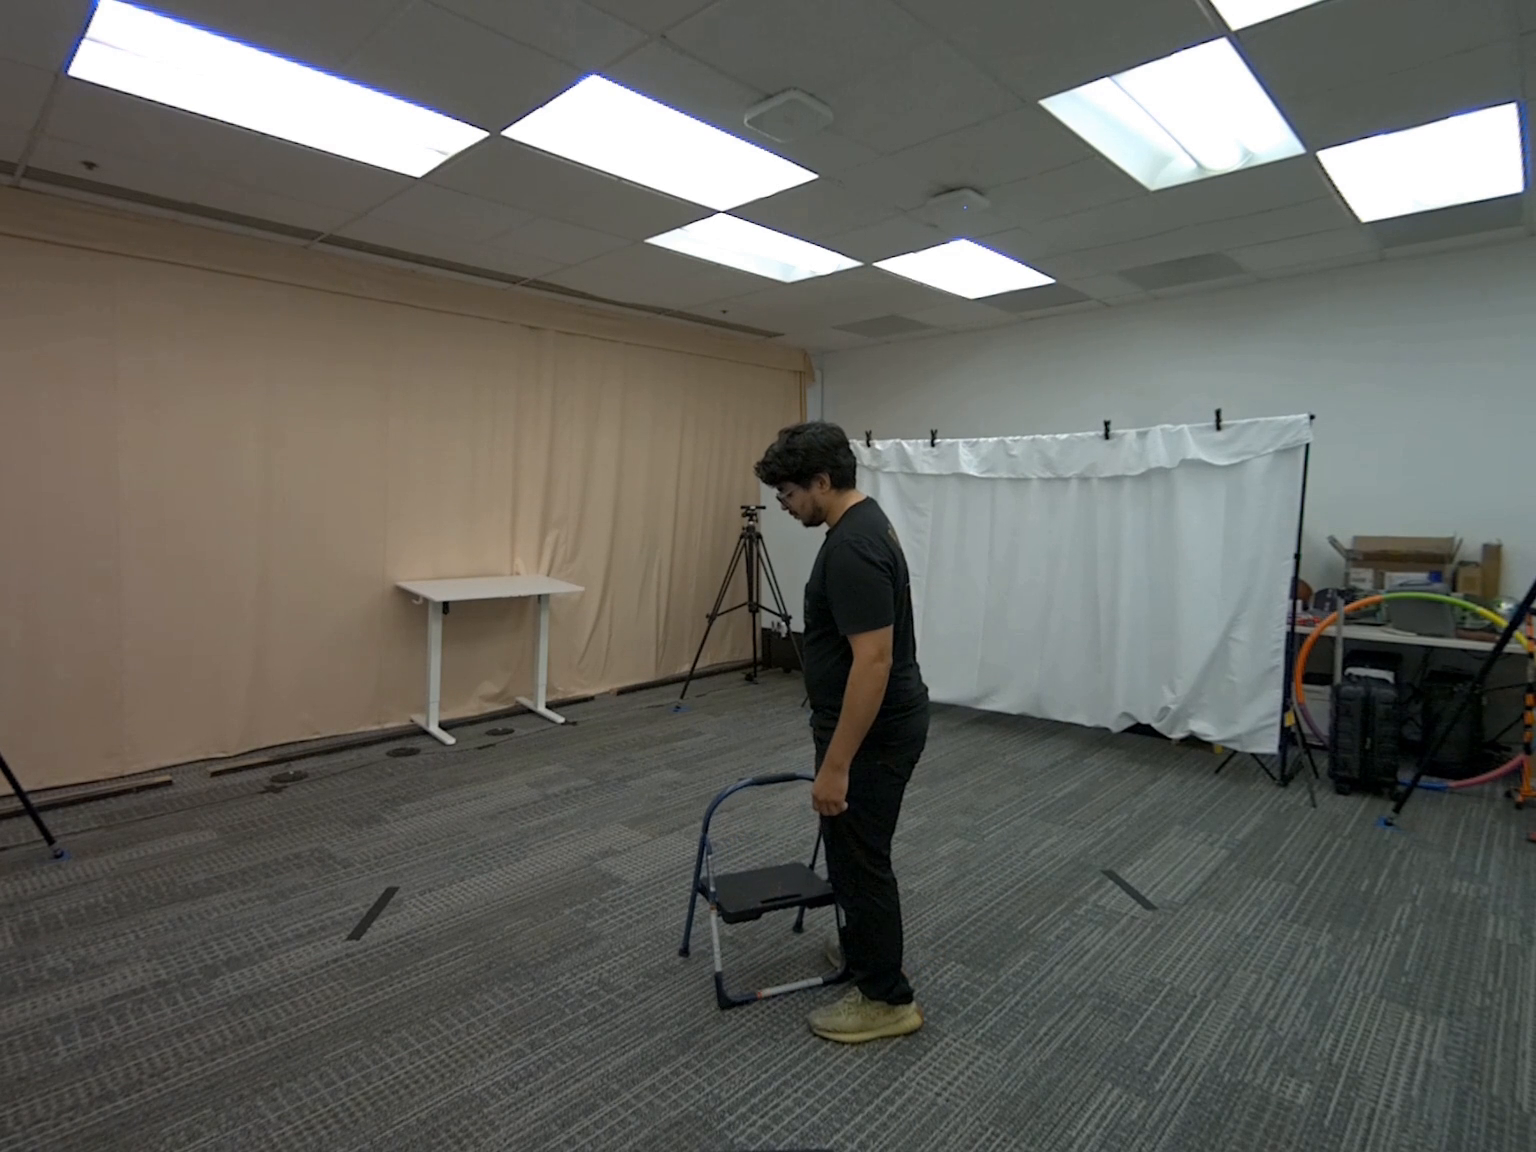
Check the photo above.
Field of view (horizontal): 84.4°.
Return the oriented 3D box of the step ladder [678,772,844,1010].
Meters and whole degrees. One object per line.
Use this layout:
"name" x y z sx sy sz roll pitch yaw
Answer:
"step ladder" -0.018 0.881 2.533 0.421 0.604 0.358 -2 4 -23
